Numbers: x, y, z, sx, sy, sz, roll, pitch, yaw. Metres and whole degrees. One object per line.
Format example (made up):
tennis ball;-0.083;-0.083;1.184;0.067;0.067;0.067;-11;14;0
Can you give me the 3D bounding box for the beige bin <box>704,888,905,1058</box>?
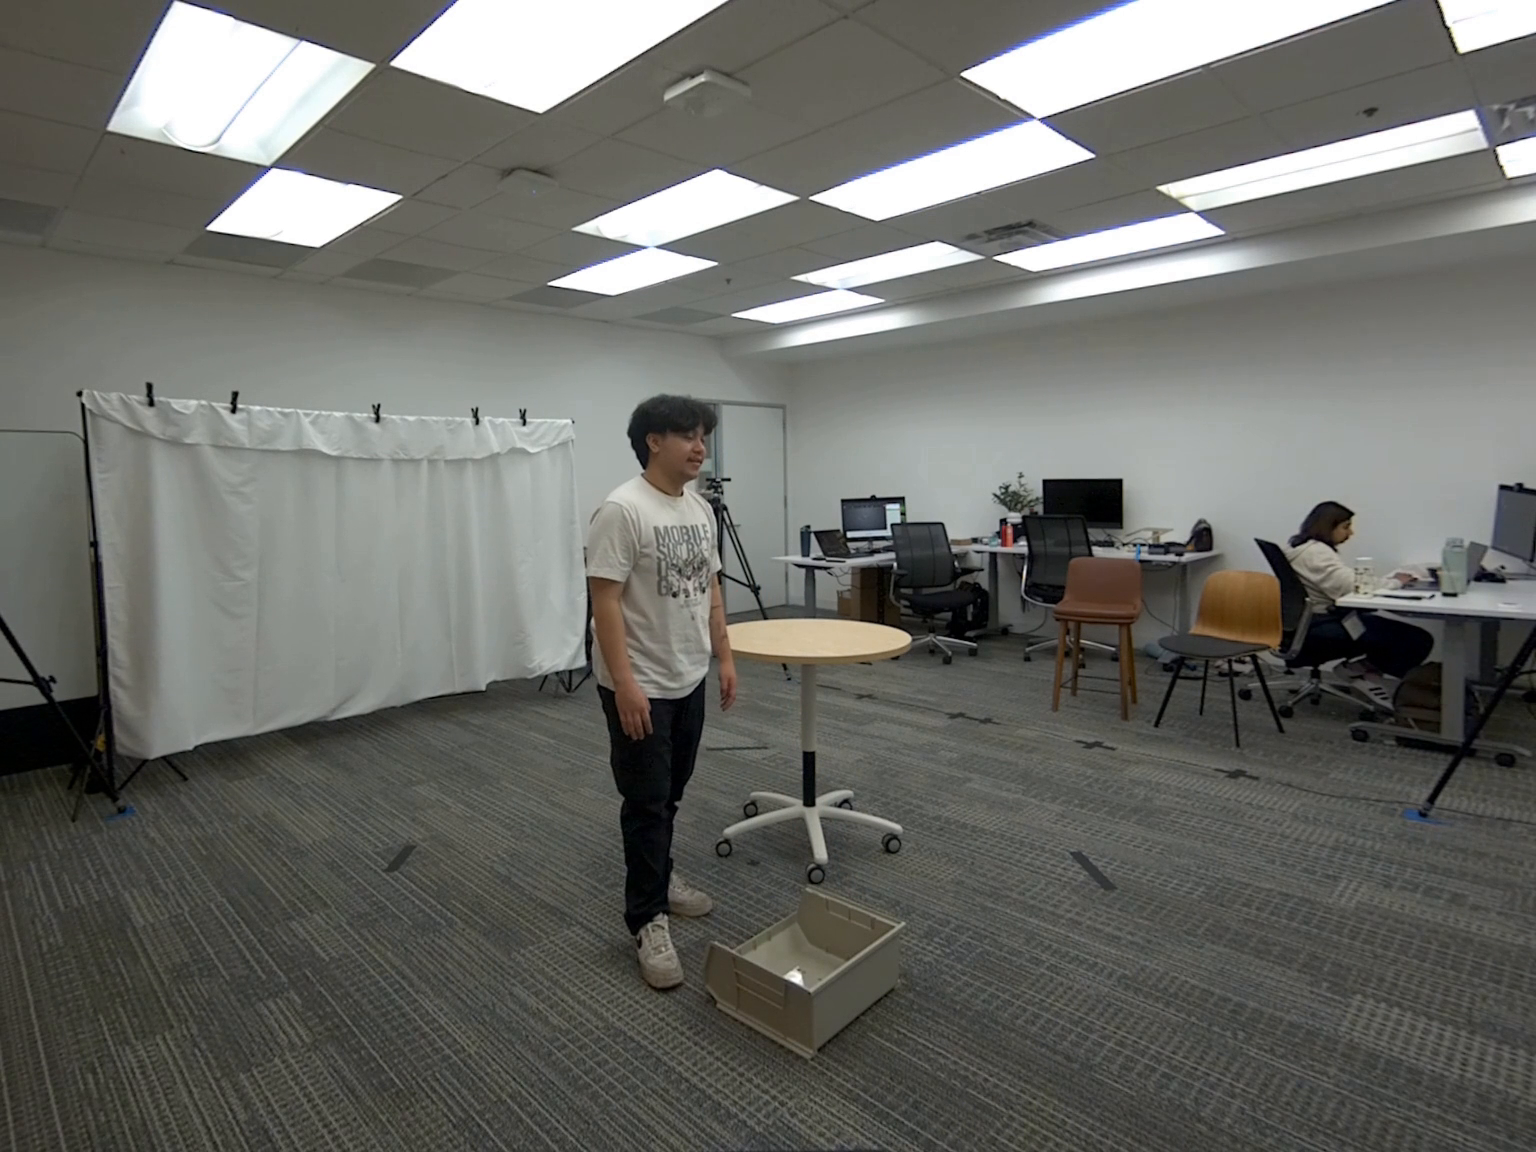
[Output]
beige bin;0.105;1.049;2.308;0.389;0.188;0.411;5;8;41
